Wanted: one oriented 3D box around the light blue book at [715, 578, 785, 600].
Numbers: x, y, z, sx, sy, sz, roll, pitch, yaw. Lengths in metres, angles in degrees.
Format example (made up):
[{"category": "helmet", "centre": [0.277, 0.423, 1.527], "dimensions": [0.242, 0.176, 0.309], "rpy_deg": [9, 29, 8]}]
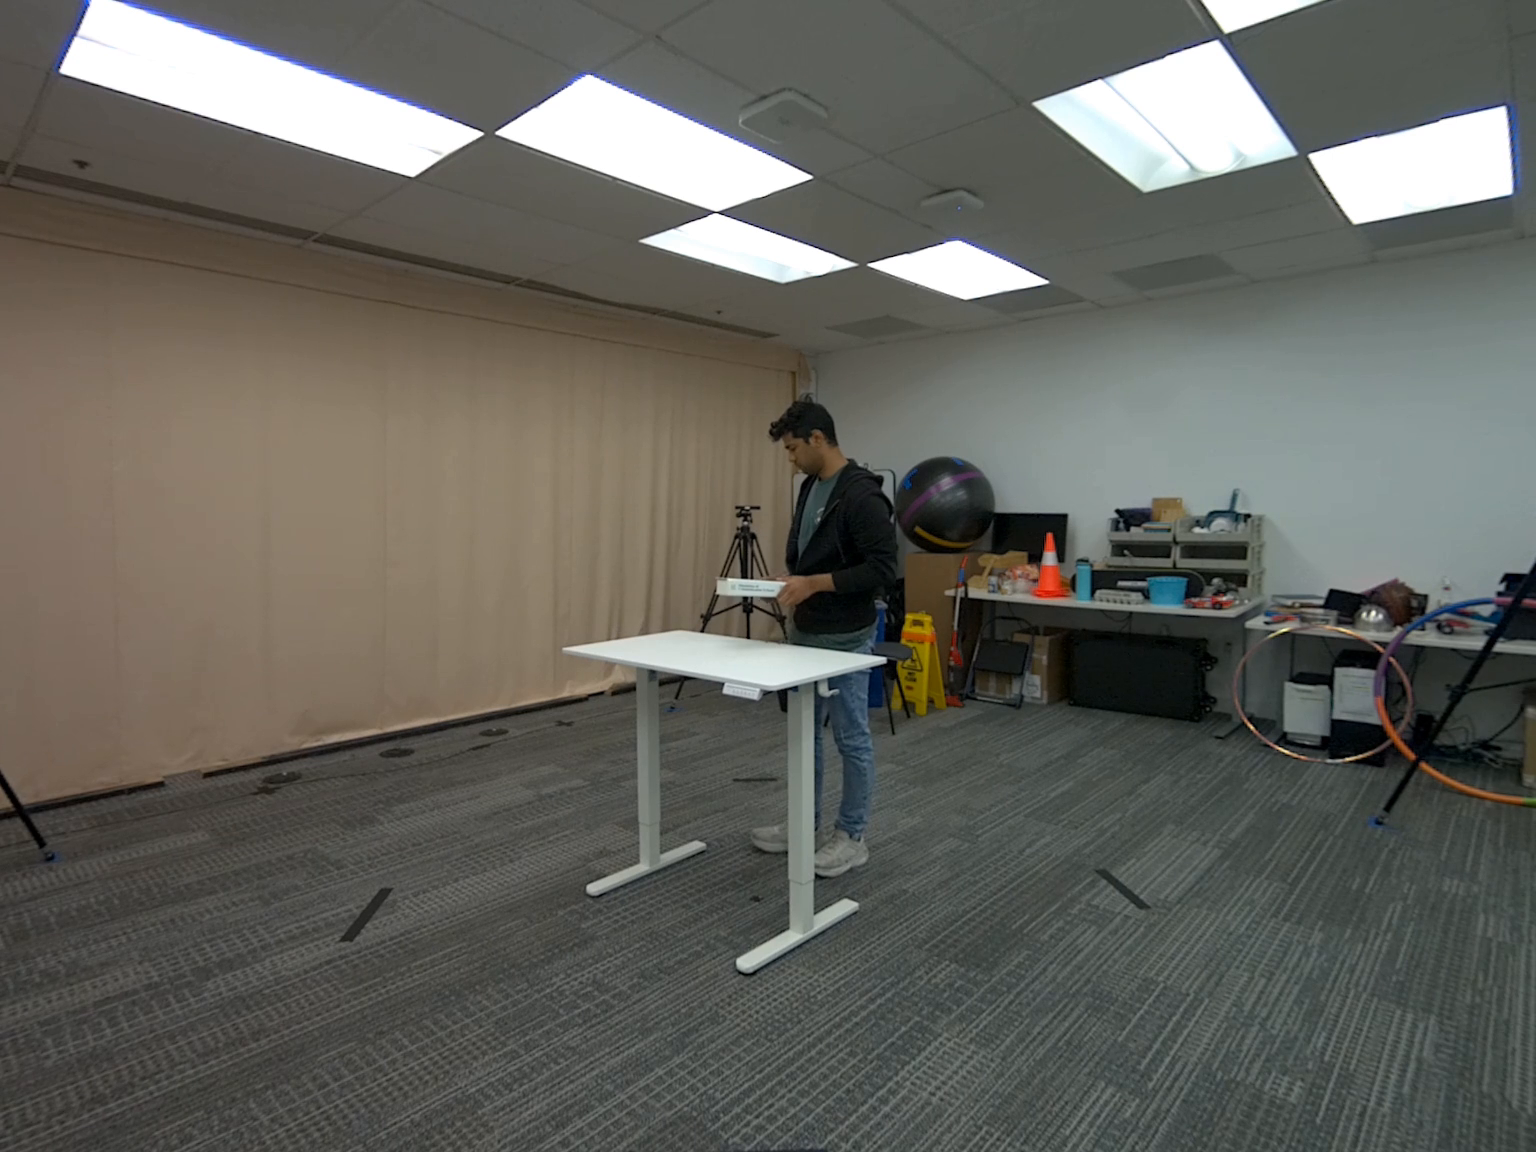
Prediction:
[{"category": "light blue book", "centre": [-0.038, 0.051, 3.152], "dimensions": [0.261, 0.059, 0.191], "rpy_deg": [3, -1, 0]}]
